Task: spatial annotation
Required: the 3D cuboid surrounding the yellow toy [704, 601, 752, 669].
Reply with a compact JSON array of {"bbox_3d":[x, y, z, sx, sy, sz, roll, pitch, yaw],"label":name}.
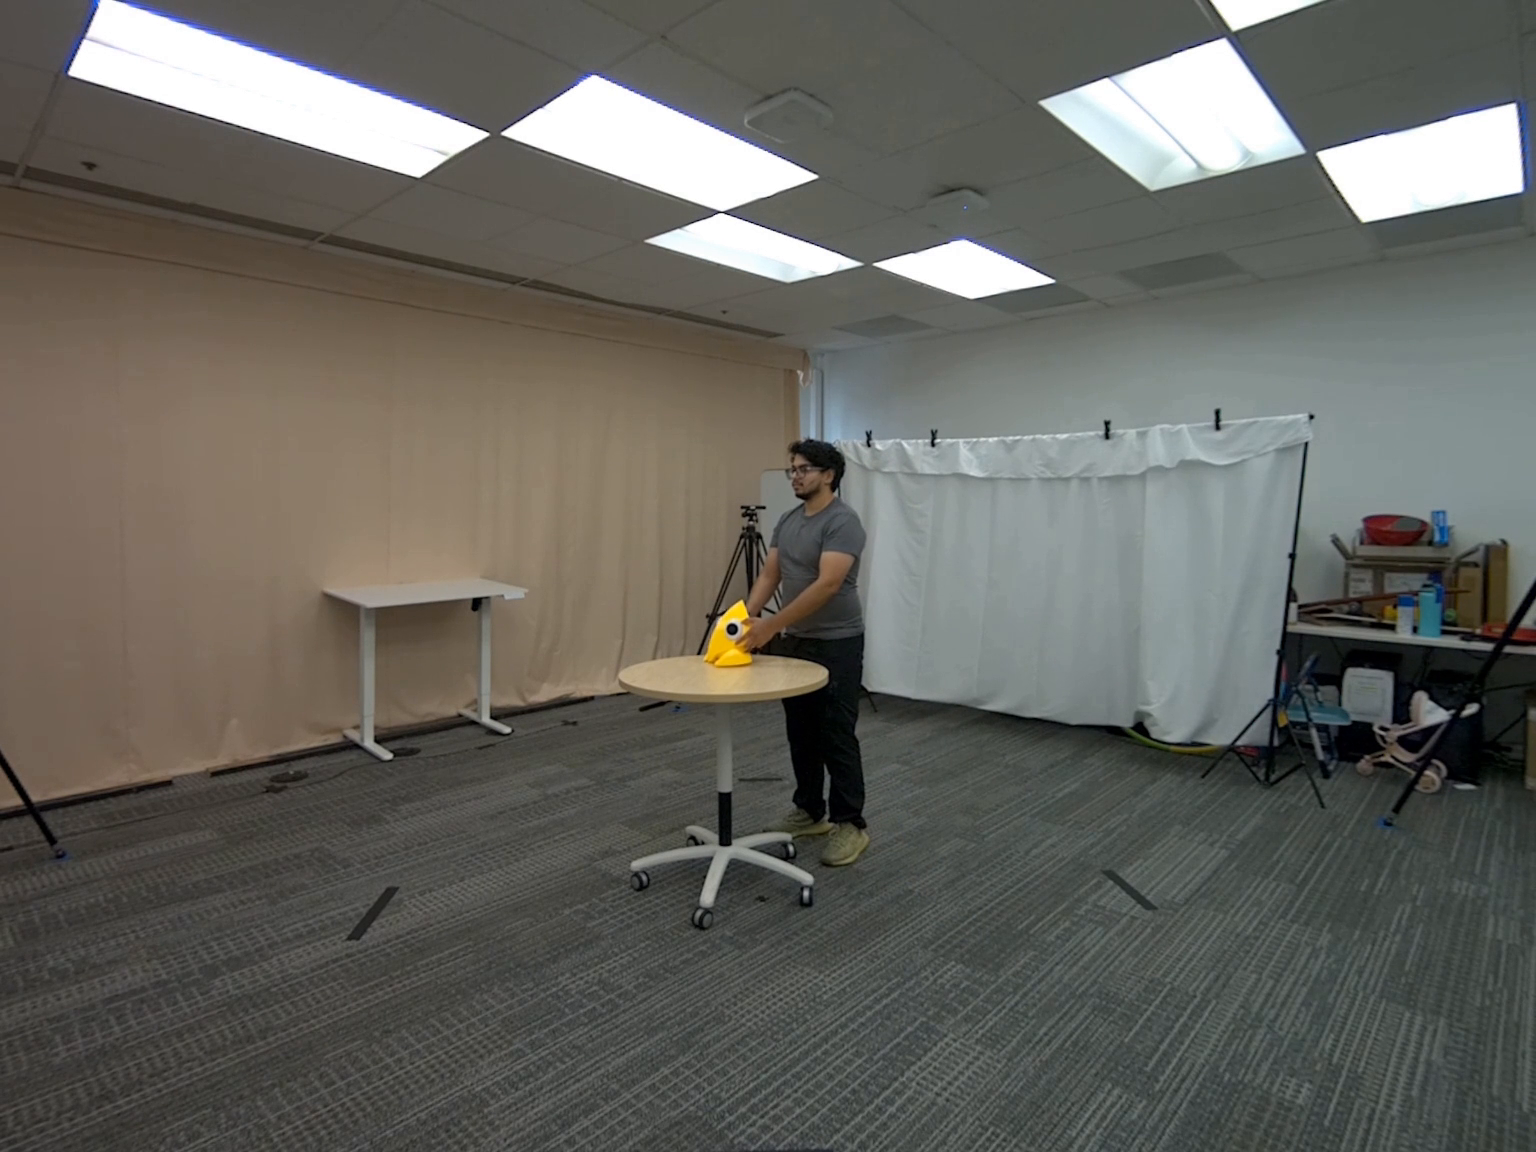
[{"bbox_3d":[-0.150,0.210,3.268,0.189,0.230,0.209,-4,3,-23],"label":"yellow toy"}]
